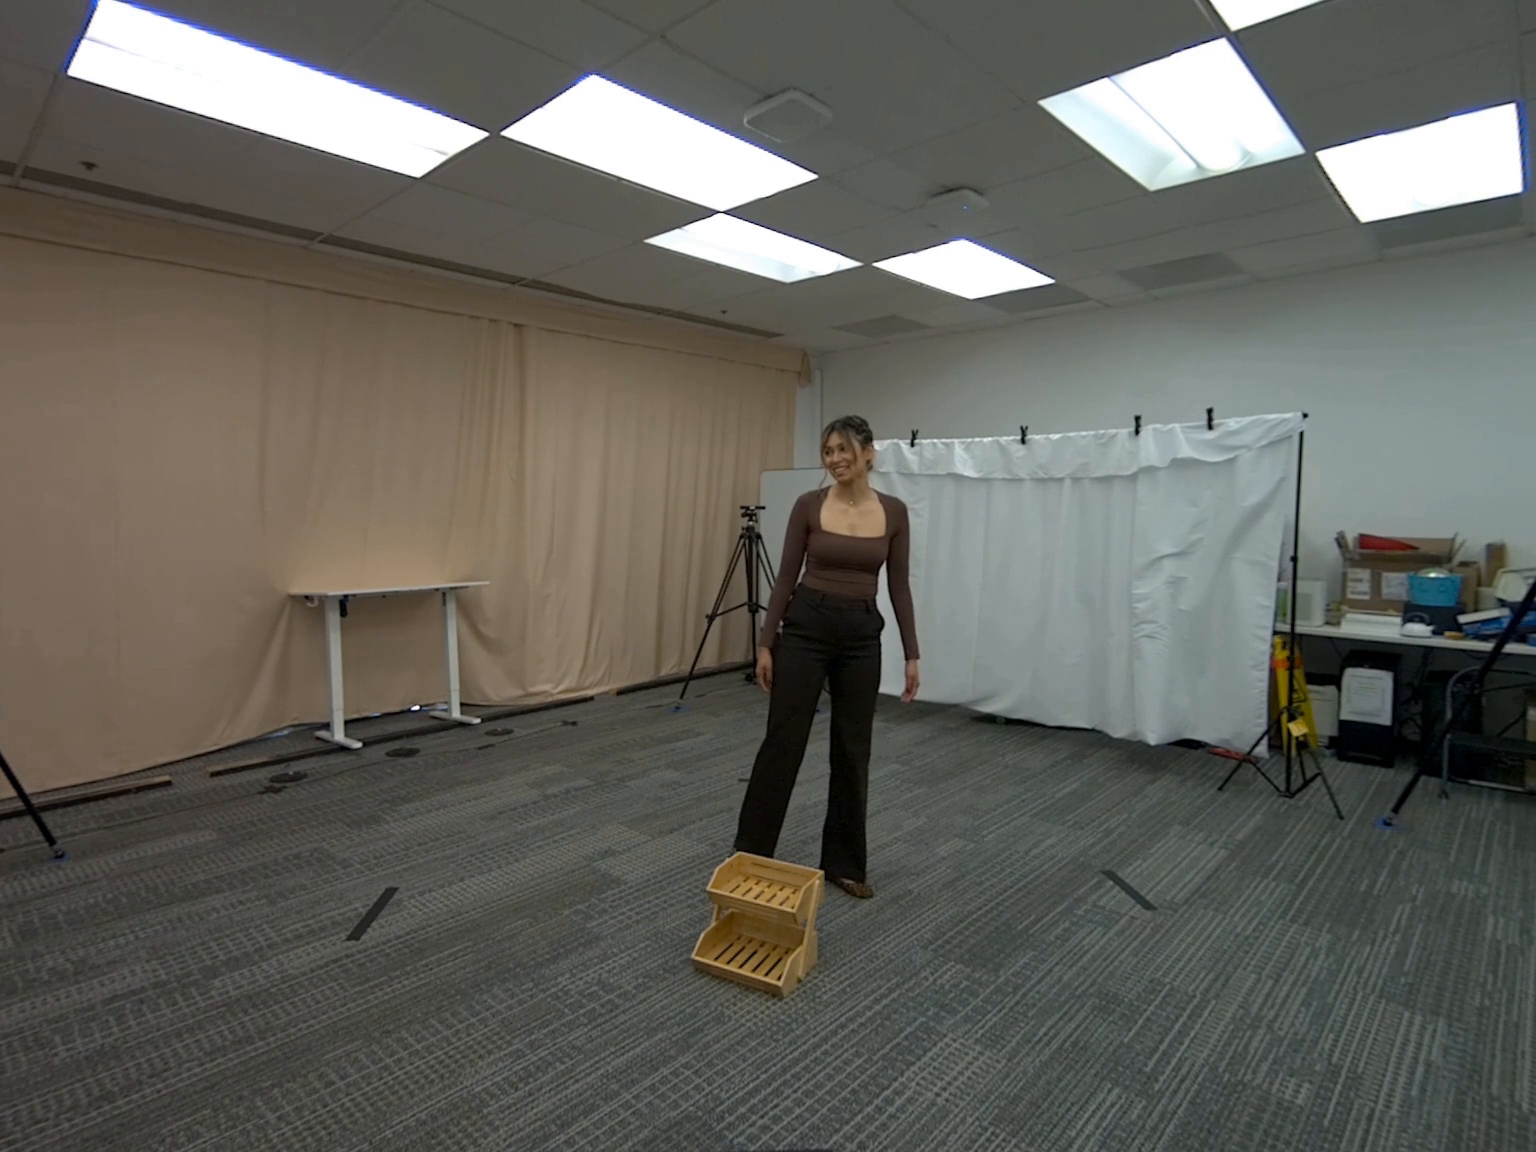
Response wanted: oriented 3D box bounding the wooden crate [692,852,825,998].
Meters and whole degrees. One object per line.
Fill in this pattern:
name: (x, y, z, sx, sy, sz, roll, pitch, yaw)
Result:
wooden crate: (-0.025, 1.043, 2.560, 0.334, 0.273, 0.294, 2, 4, 29)
